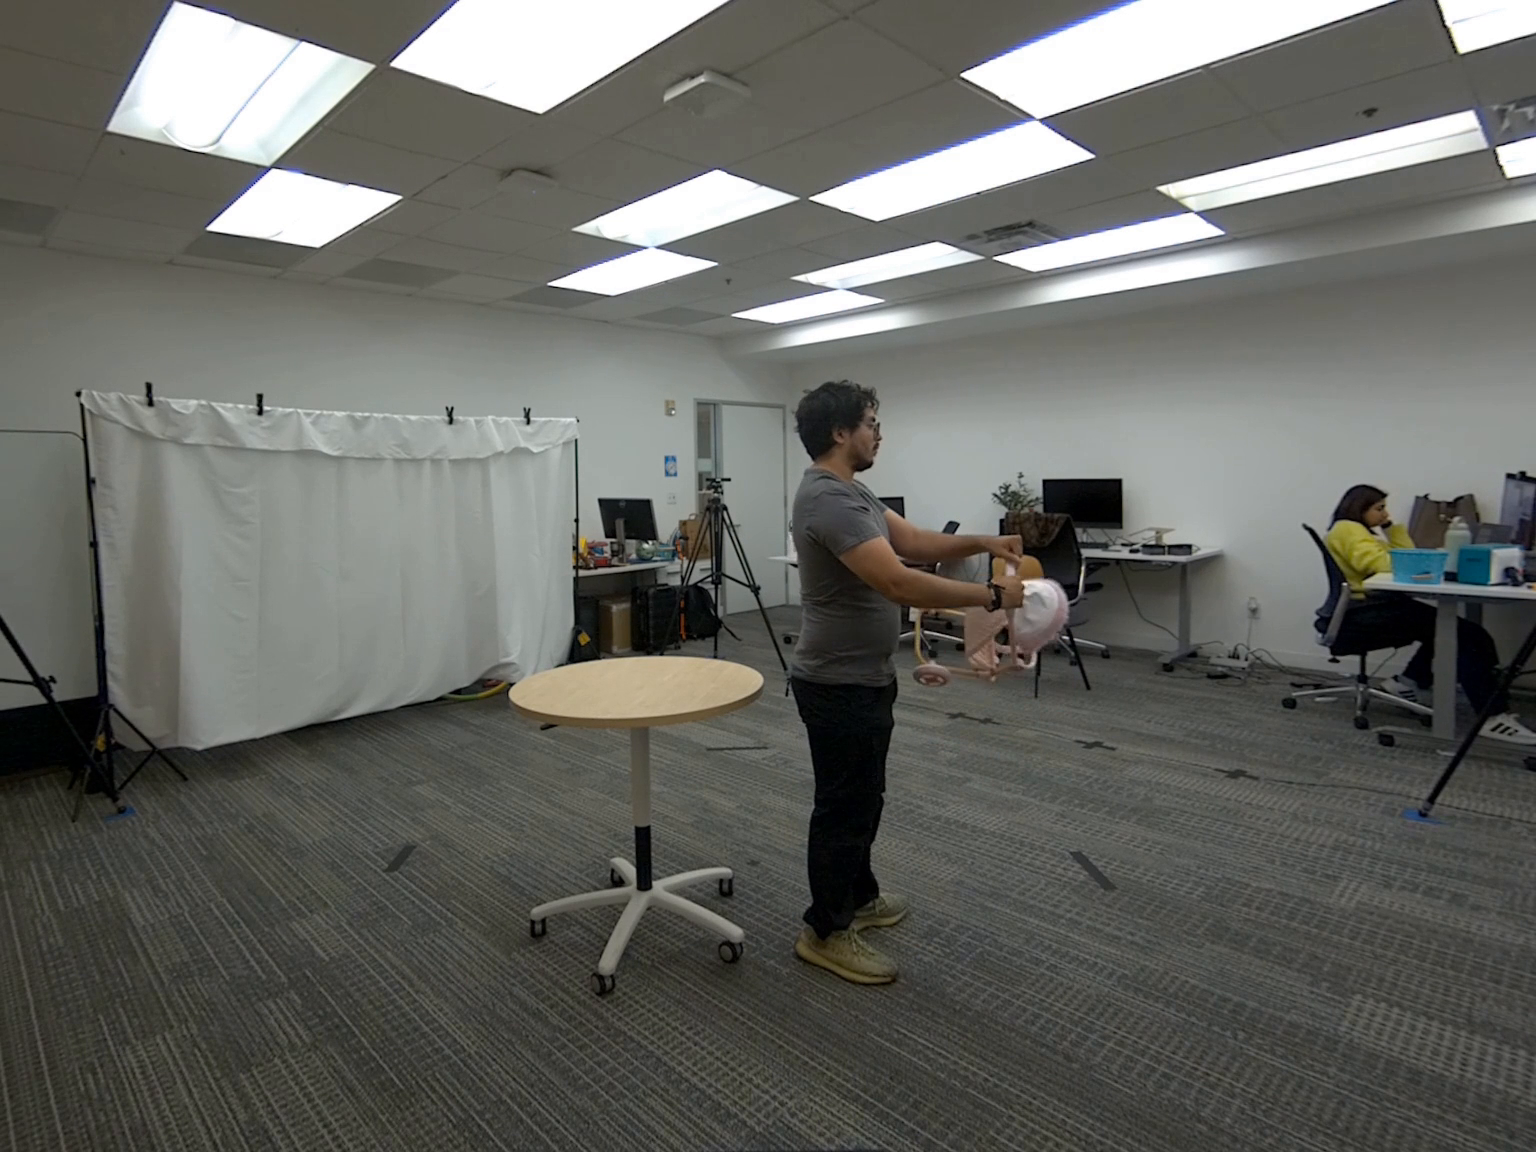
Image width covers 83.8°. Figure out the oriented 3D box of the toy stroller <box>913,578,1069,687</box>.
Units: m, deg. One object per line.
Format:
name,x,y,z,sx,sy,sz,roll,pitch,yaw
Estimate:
toy stroller,0.655,0.152,2.476,0.335,0.287,0.534,22,-35,-15
